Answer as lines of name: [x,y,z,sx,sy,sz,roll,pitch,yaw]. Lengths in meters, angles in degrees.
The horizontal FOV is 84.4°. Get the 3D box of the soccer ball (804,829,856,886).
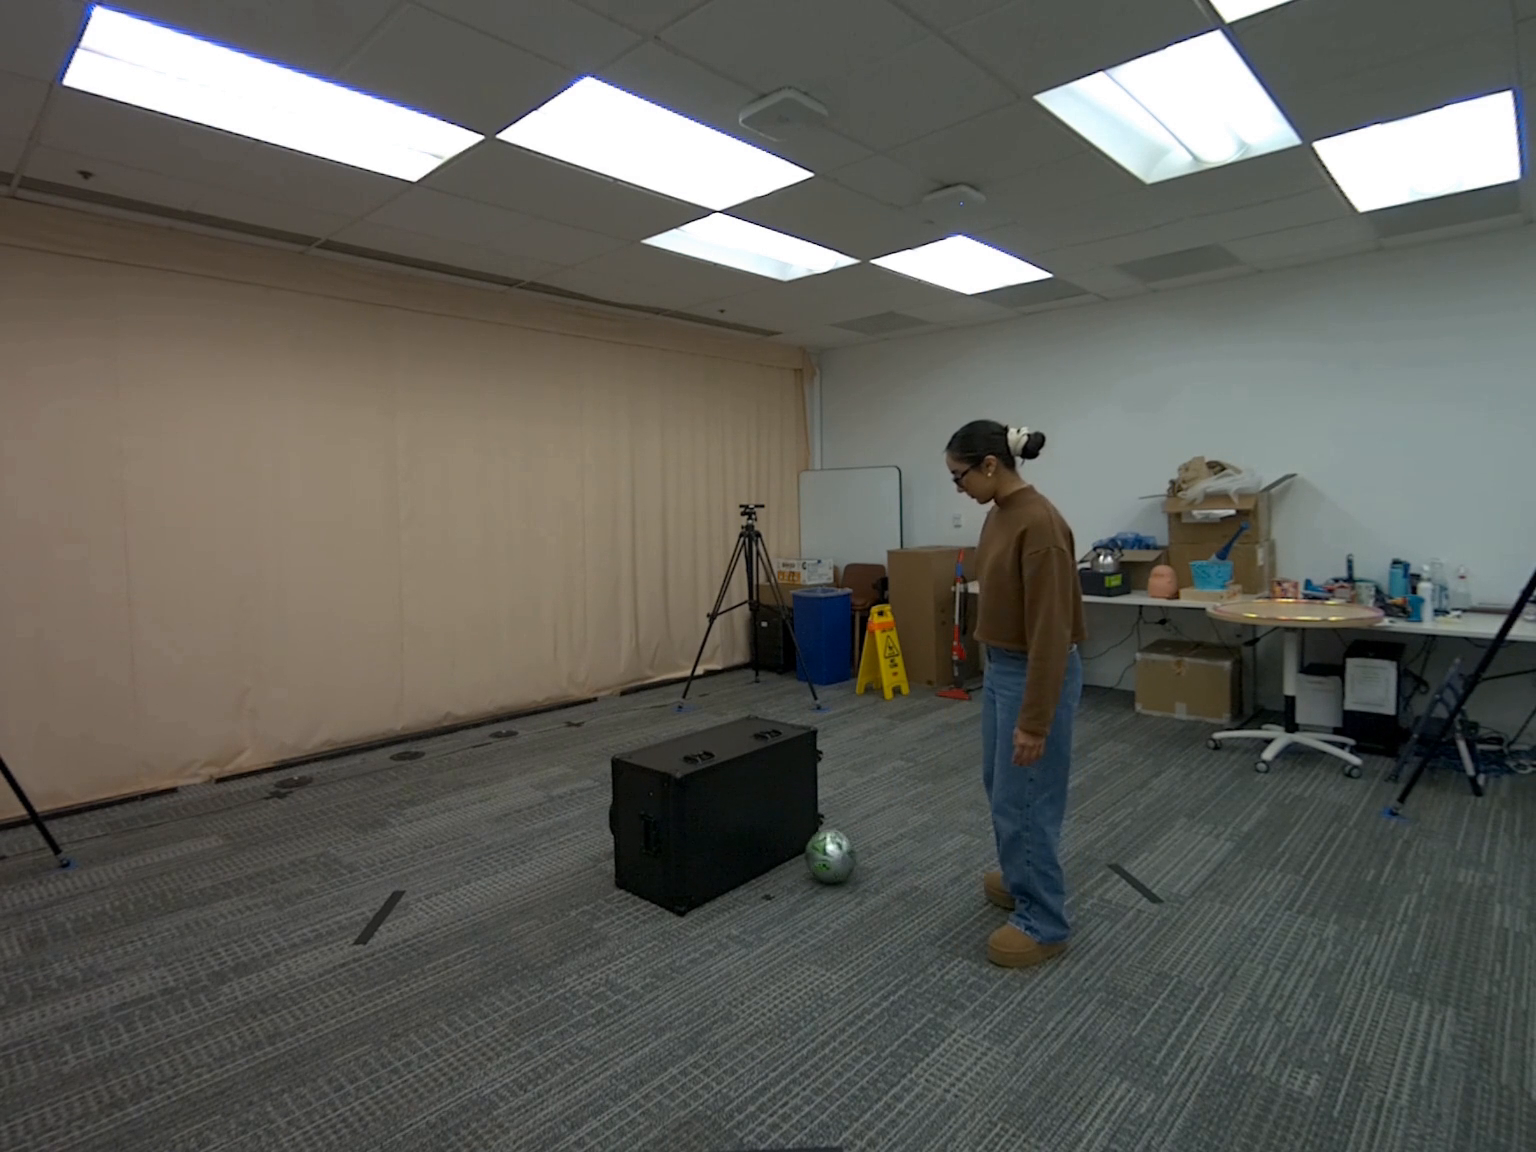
soccer ball: [0.231,1.024,3.087,0.187,0.187,0.188,-1,4,-2]
